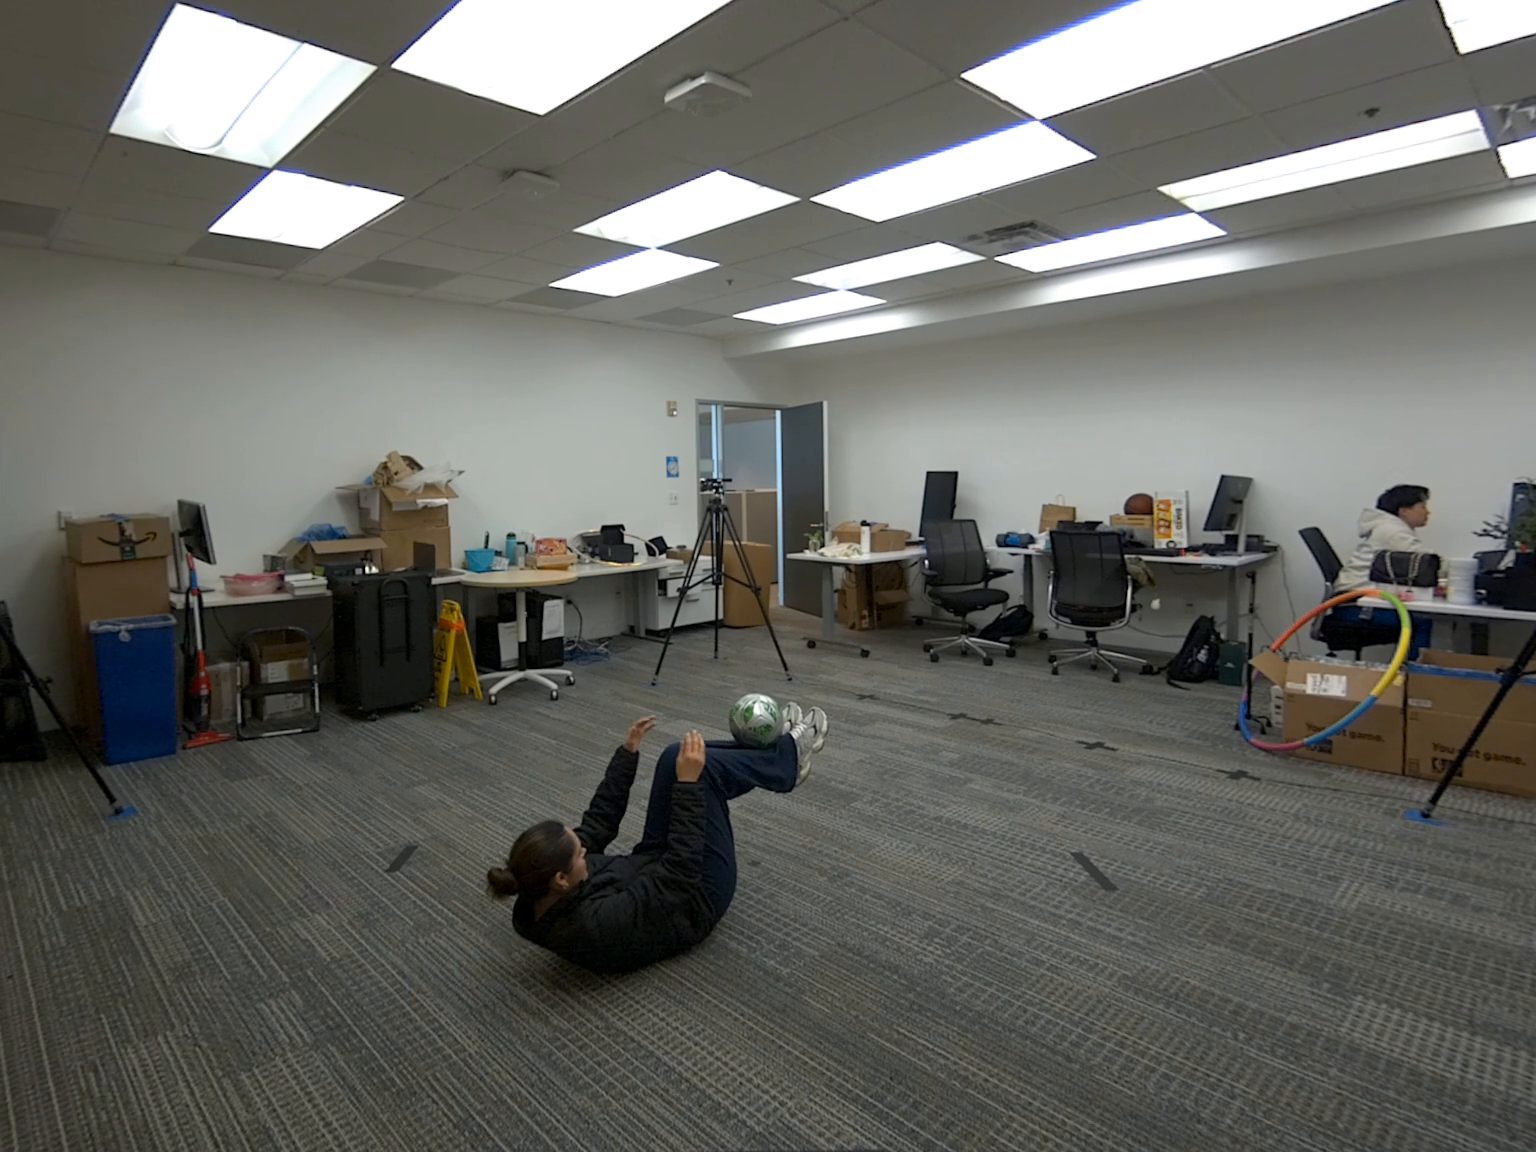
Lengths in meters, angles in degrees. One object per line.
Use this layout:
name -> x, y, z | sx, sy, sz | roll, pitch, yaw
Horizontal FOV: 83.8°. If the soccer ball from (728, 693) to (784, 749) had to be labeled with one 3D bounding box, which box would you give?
soccer ball -> -0.032, 0.487, 2.864 | 0.187, 0.187, 0.188 | 0, 1, -2
